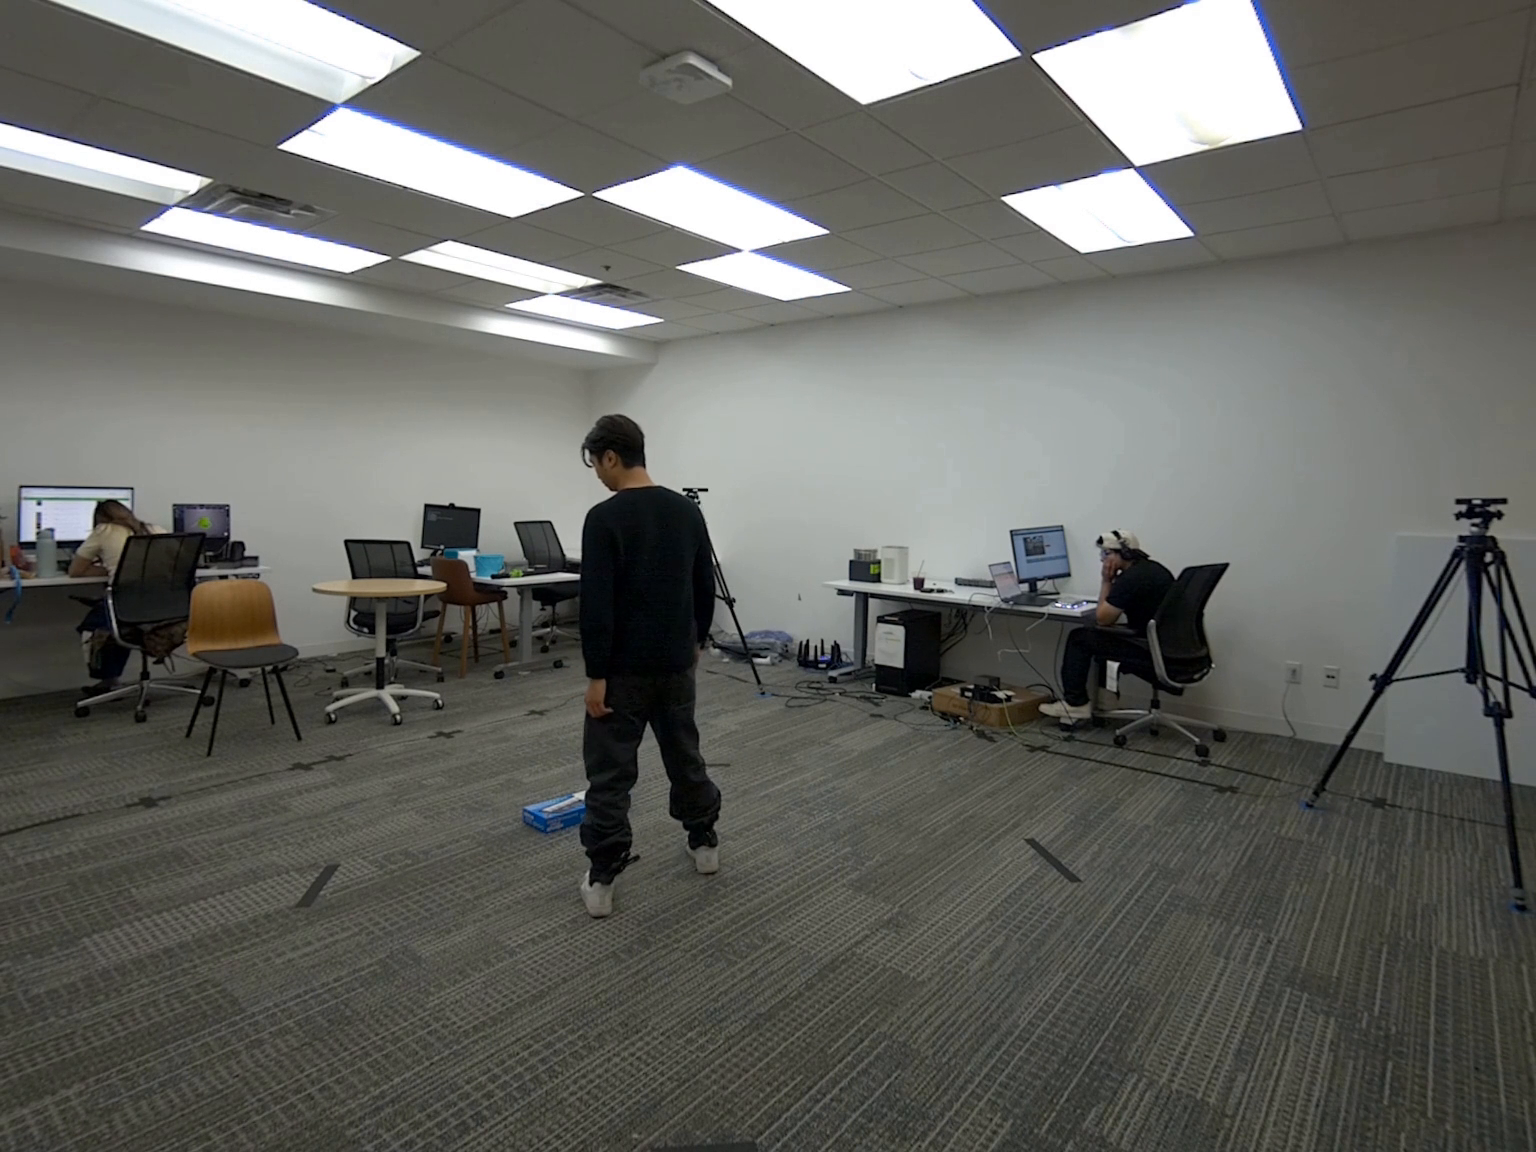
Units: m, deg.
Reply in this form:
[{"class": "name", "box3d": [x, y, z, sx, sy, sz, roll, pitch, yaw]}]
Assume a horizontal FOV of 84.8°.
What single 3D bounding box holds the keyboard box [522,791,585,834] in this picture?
[{"class": "keyboard box", "box3d": [-0.827, 0.982, 3.616, 0.182, 0.059, 0.424, 5, 7, 43]}]
